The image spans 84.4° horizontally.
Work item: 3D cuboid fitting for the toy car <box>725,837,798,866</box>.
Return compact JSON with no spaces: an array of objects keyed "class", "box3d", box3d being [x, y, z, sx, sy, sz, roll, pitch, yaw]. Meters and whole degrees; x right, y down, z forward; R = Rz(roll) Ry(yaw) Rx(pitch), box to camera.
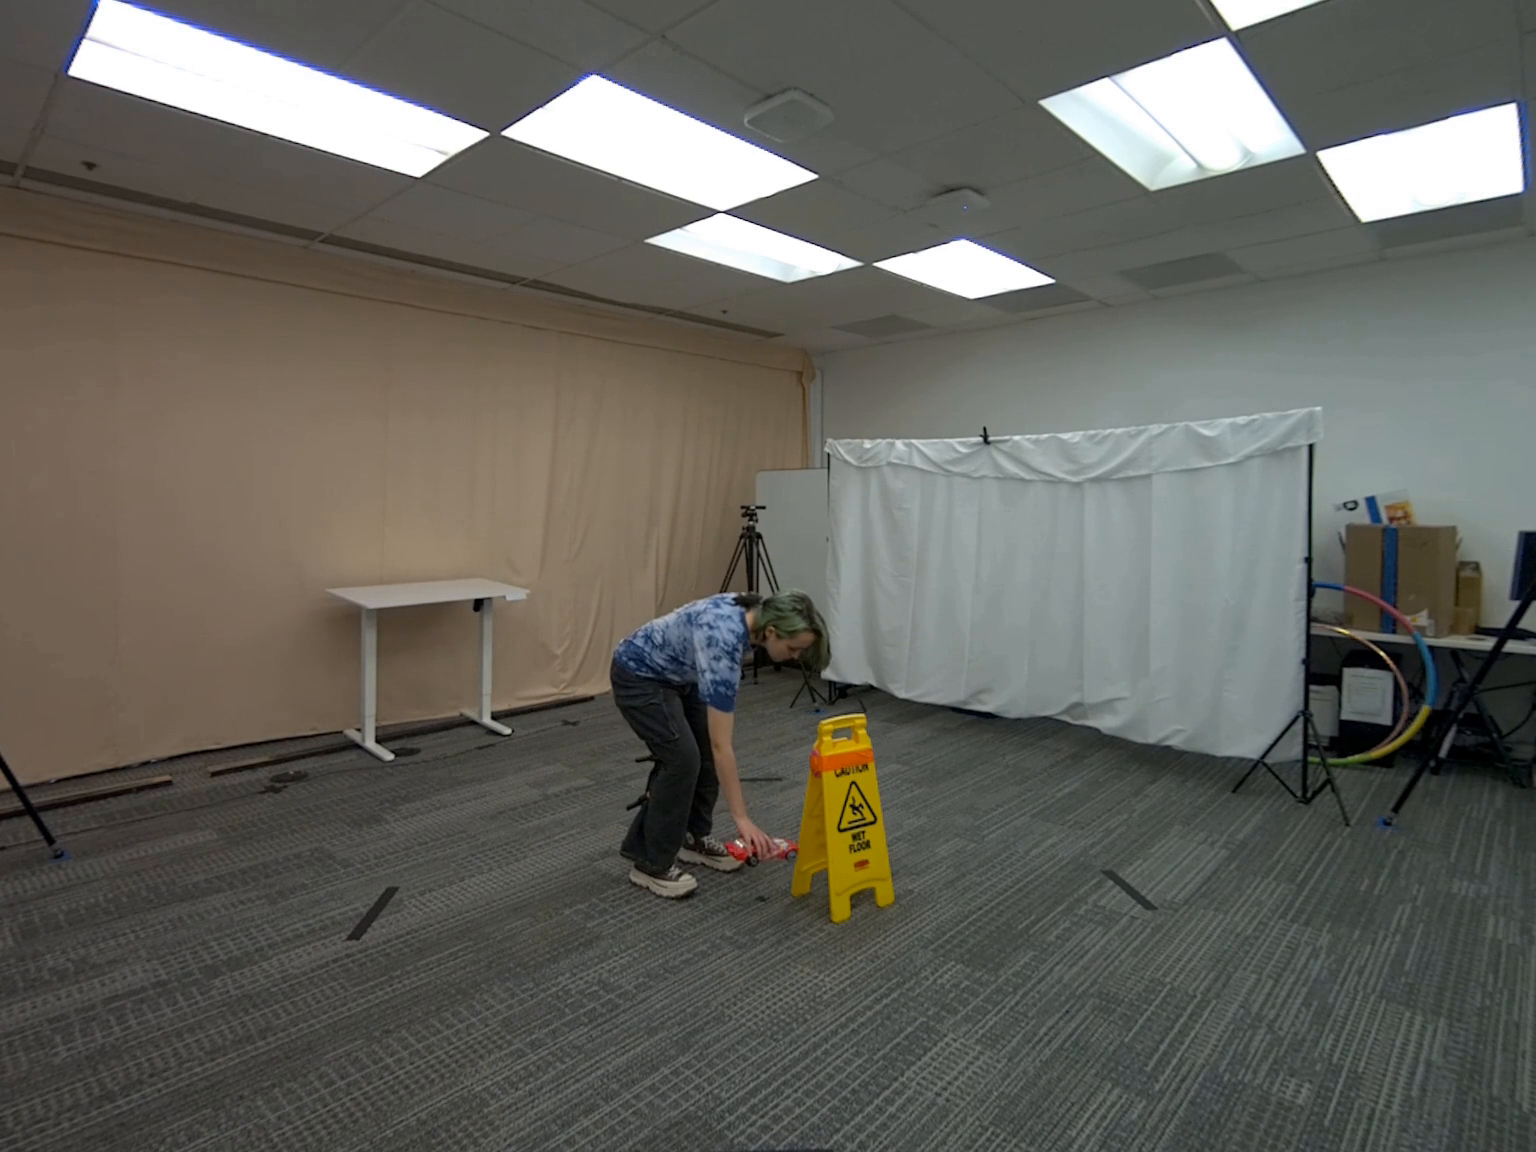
[{"class":"toy car","box3d":[-0.024,0.919,2.813,0.248,0.083,0.133,13,-2,-23]}]
